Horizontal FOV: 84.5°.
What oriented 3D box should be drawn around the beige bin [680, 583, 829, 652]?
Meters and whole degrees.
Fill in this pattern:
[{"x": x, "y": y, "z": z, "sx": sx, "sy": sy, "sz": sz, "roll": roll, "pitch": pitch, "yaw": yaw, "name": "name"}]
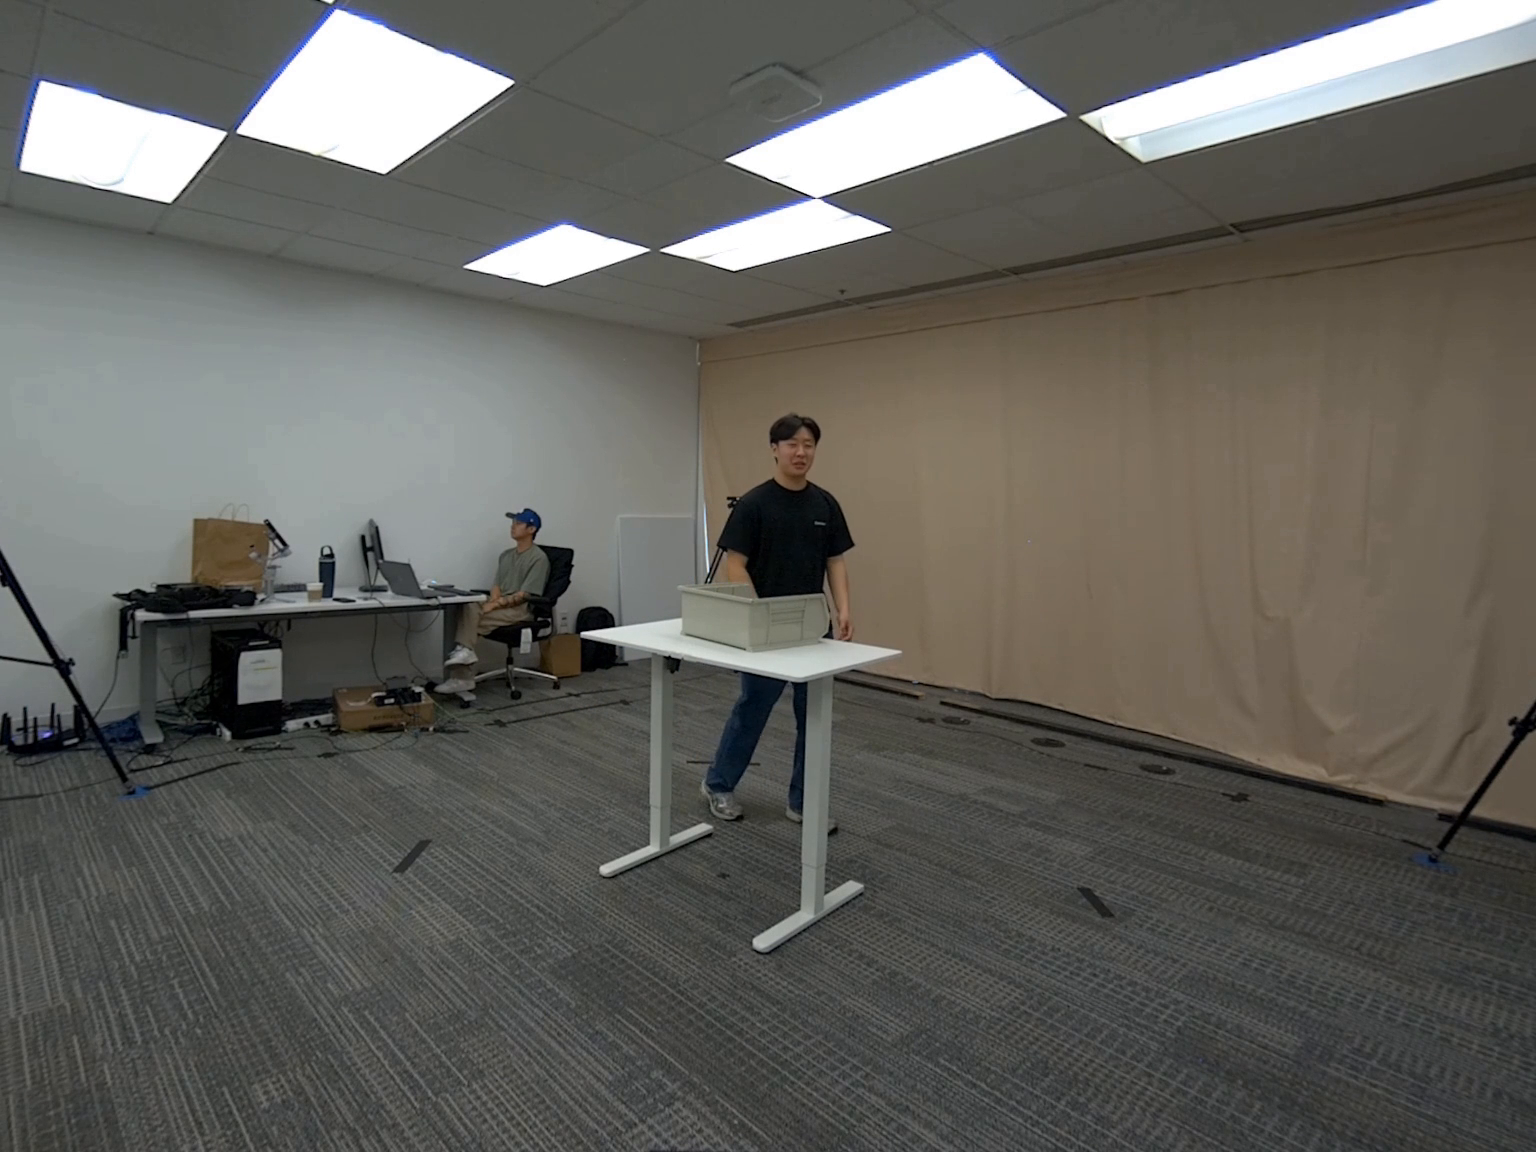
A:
[{"x": -0.066, "y": 0.141, "z": 3.051, "sx": 0.369, "sy": 0.188, "sz": 0.433, "roll": -4, "pitch": 8, "yaw": -39, "name": "beige bin"}]
